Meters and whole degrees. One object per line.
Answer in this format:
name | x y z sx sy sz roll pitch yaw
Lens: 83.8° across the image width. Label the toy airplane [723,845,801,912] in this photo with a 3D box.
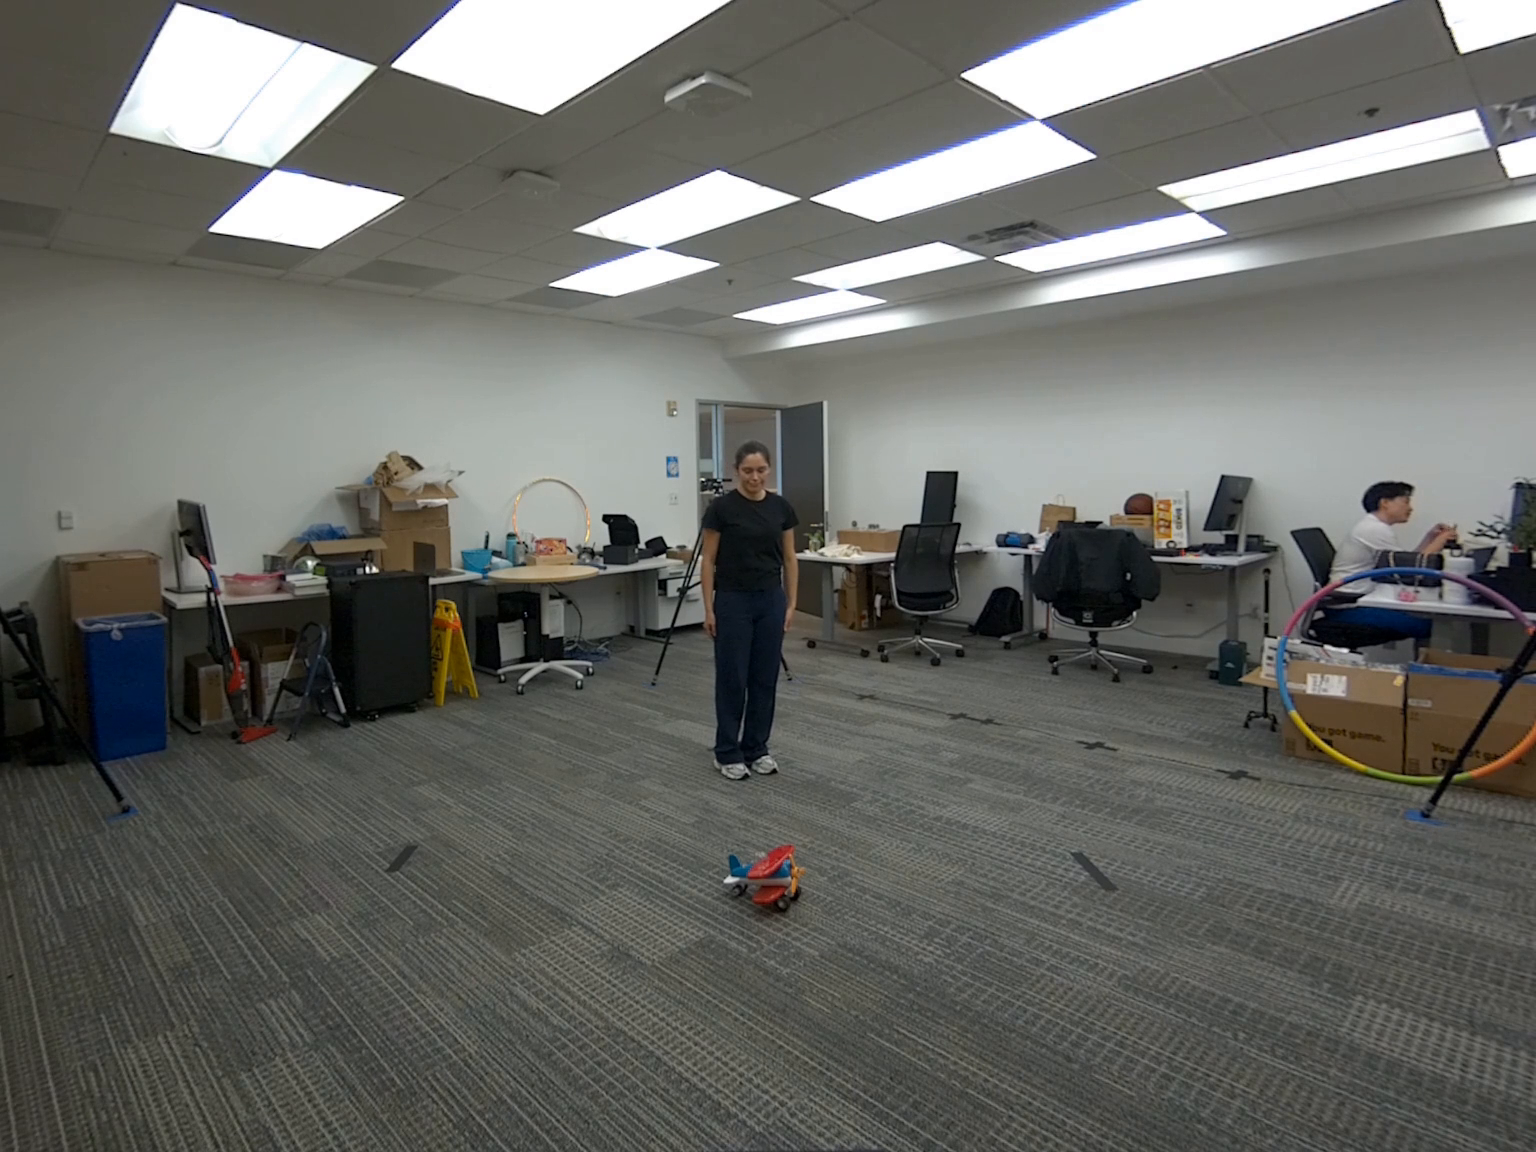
toy airplane | -0.019 1.006 2.830 0.259 0.156 0.252 0 6 -1
